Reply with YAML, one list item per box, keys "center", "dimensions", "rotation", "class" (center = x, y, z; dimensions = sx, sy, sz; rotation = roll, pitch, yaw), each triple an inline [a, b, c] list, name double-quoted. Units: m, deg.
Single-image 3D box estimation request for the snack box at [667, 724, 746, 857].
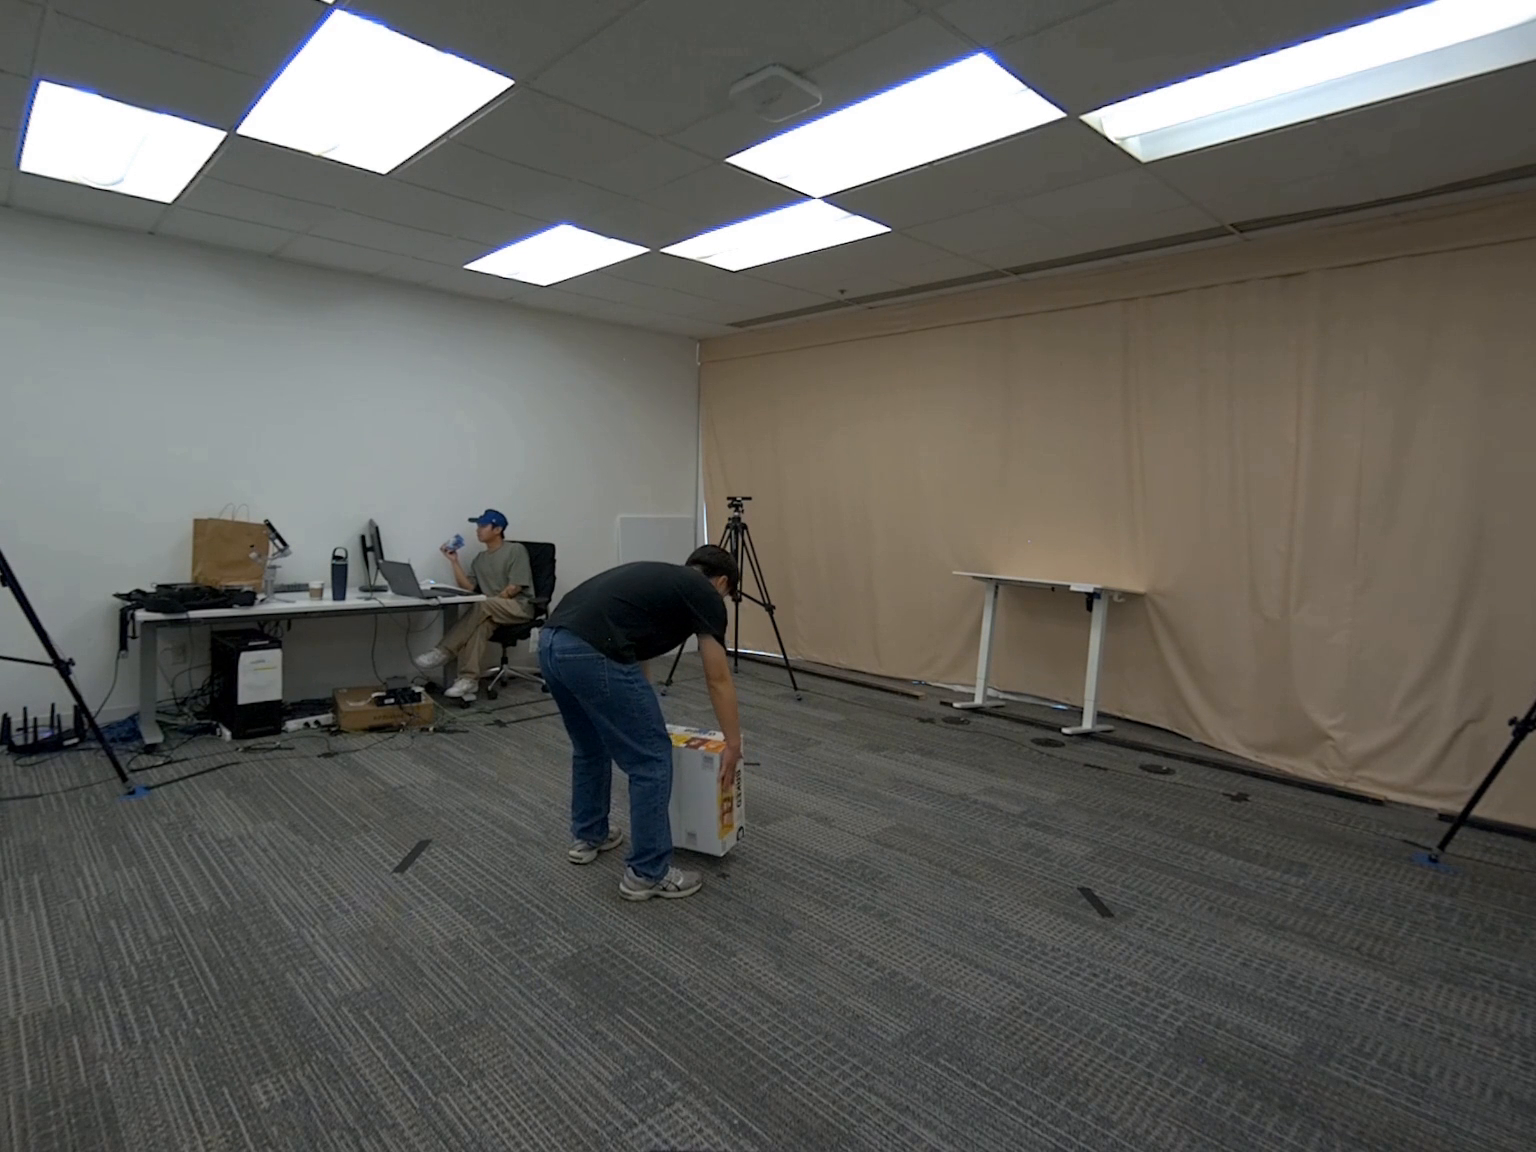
- center: [-0.291, 0.820, 3.254]
  dimensions: [0.347, 0.403, 0.202]
  rotation: [3, 8, 27]
  class: "snack box"
